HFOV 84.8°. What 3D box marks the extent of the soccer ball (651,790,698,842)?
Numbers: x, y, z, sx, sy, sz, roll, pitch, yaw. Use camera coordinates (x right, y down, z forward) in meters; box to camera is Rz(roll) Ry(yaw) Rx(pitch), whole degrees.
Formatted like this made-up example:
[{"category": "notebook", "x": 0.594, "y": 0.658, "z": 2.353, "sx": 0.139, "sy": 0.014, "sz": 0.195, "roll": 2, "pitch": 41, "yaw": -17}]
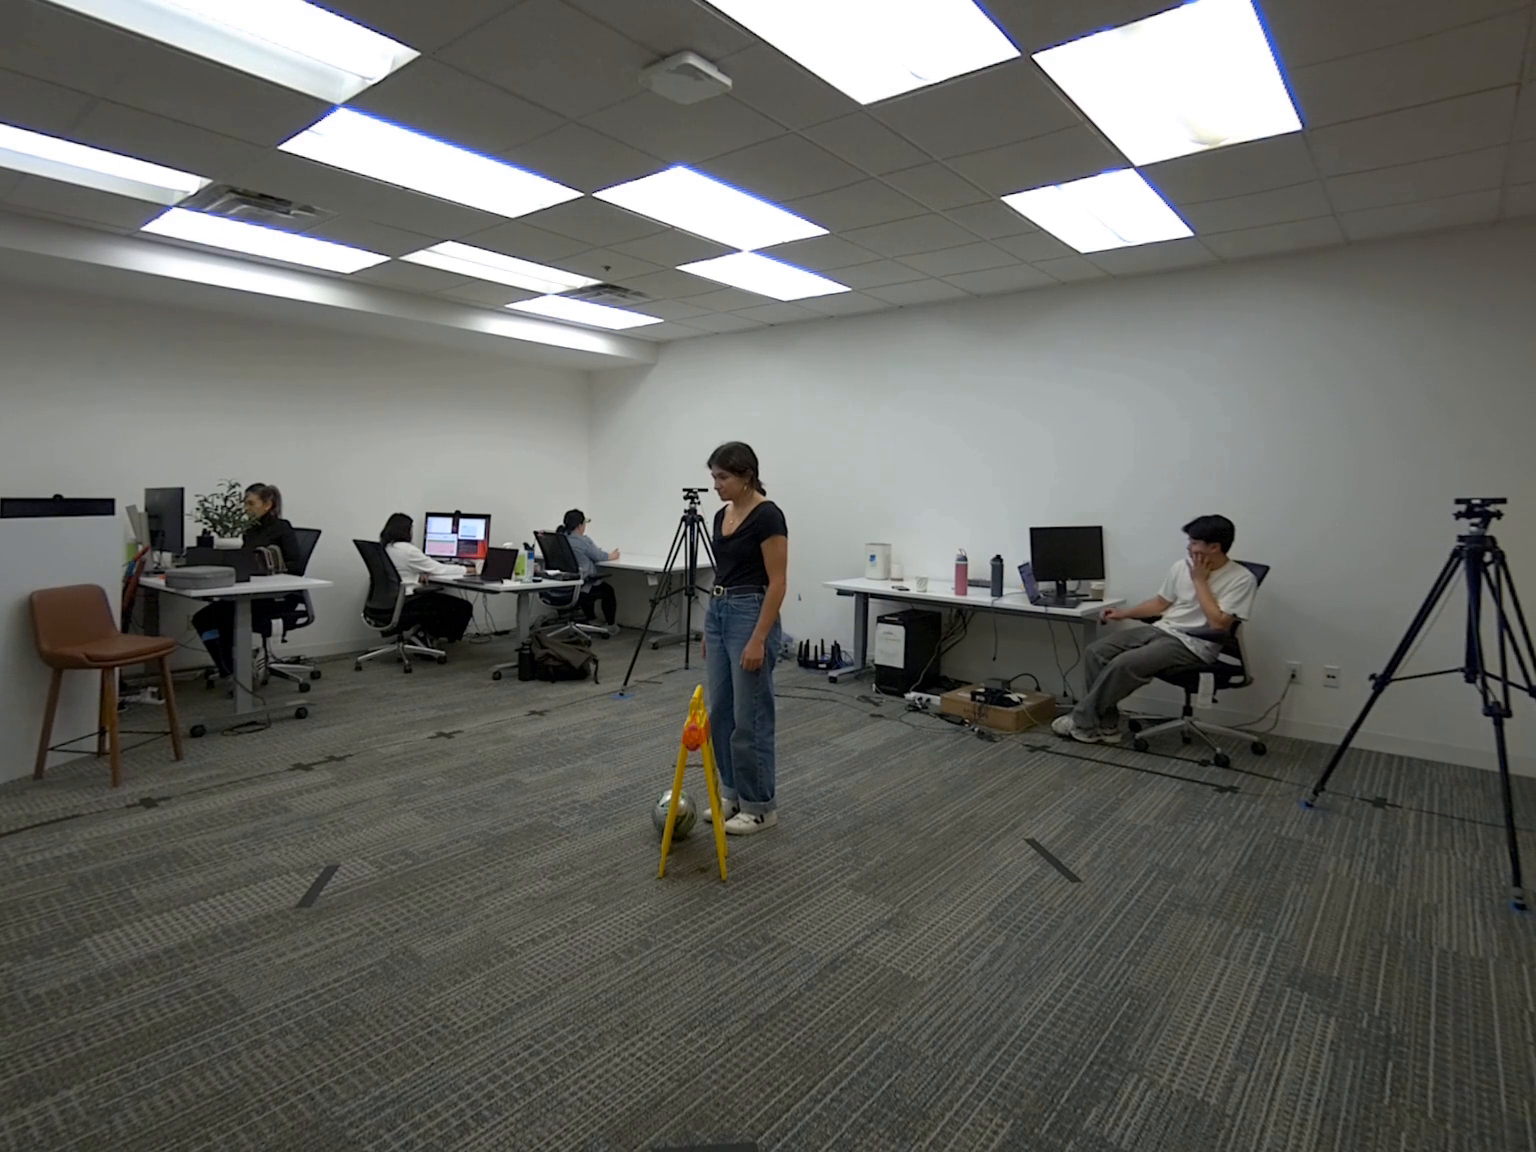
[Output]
[{"category": "soccer ball", "x": -0.372, "y": 0.942, "z": 3.407, "sx": 0.187, "sy": 0.187, "sz": 0.188, "roll": 1, "pitch": 4, "yaw": -2}]
